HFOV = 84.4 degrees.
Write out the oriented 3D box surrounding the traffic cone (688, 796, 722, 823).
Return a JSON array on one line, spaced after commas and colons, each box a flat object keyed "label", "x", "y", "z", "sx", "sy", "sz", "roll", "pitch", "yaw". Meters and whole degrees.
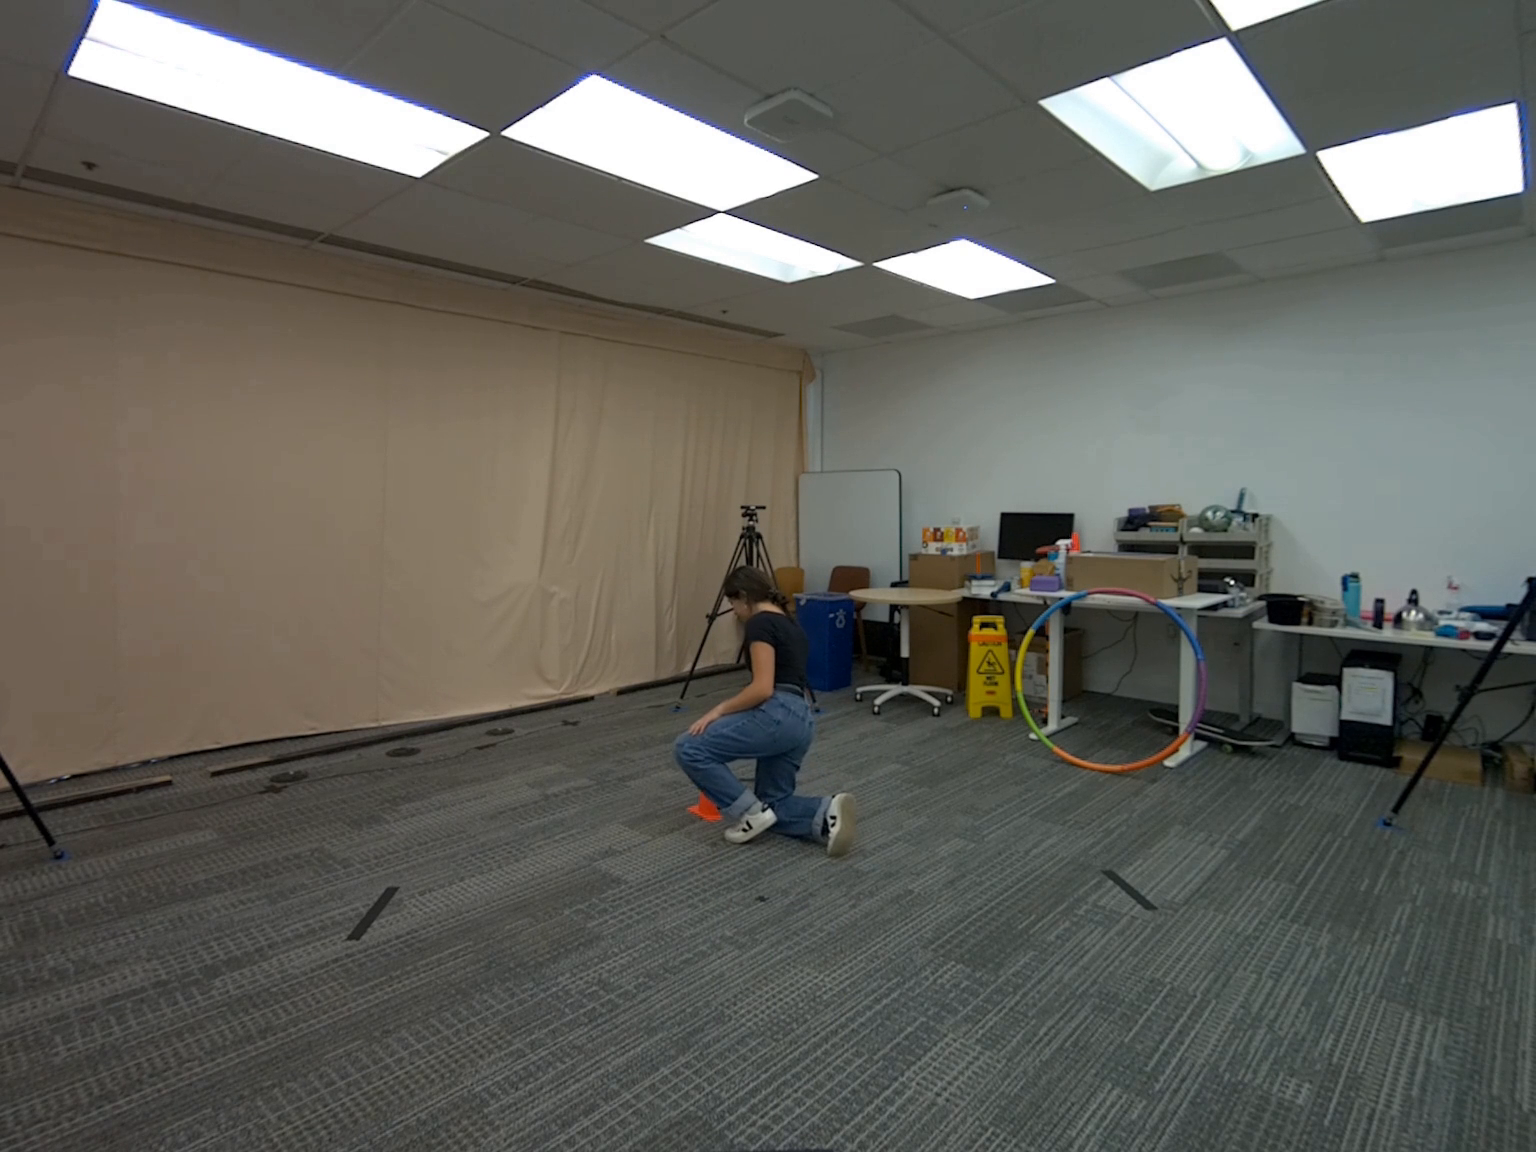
[{"label": "traffic cone", "x": -0.232, "y": 0.887, "z": 3.854, "sx": 0.199, "sy": 0.383, "sz": 0.209, "roll": 2, "pitch": 2, "yaw": -29}]
